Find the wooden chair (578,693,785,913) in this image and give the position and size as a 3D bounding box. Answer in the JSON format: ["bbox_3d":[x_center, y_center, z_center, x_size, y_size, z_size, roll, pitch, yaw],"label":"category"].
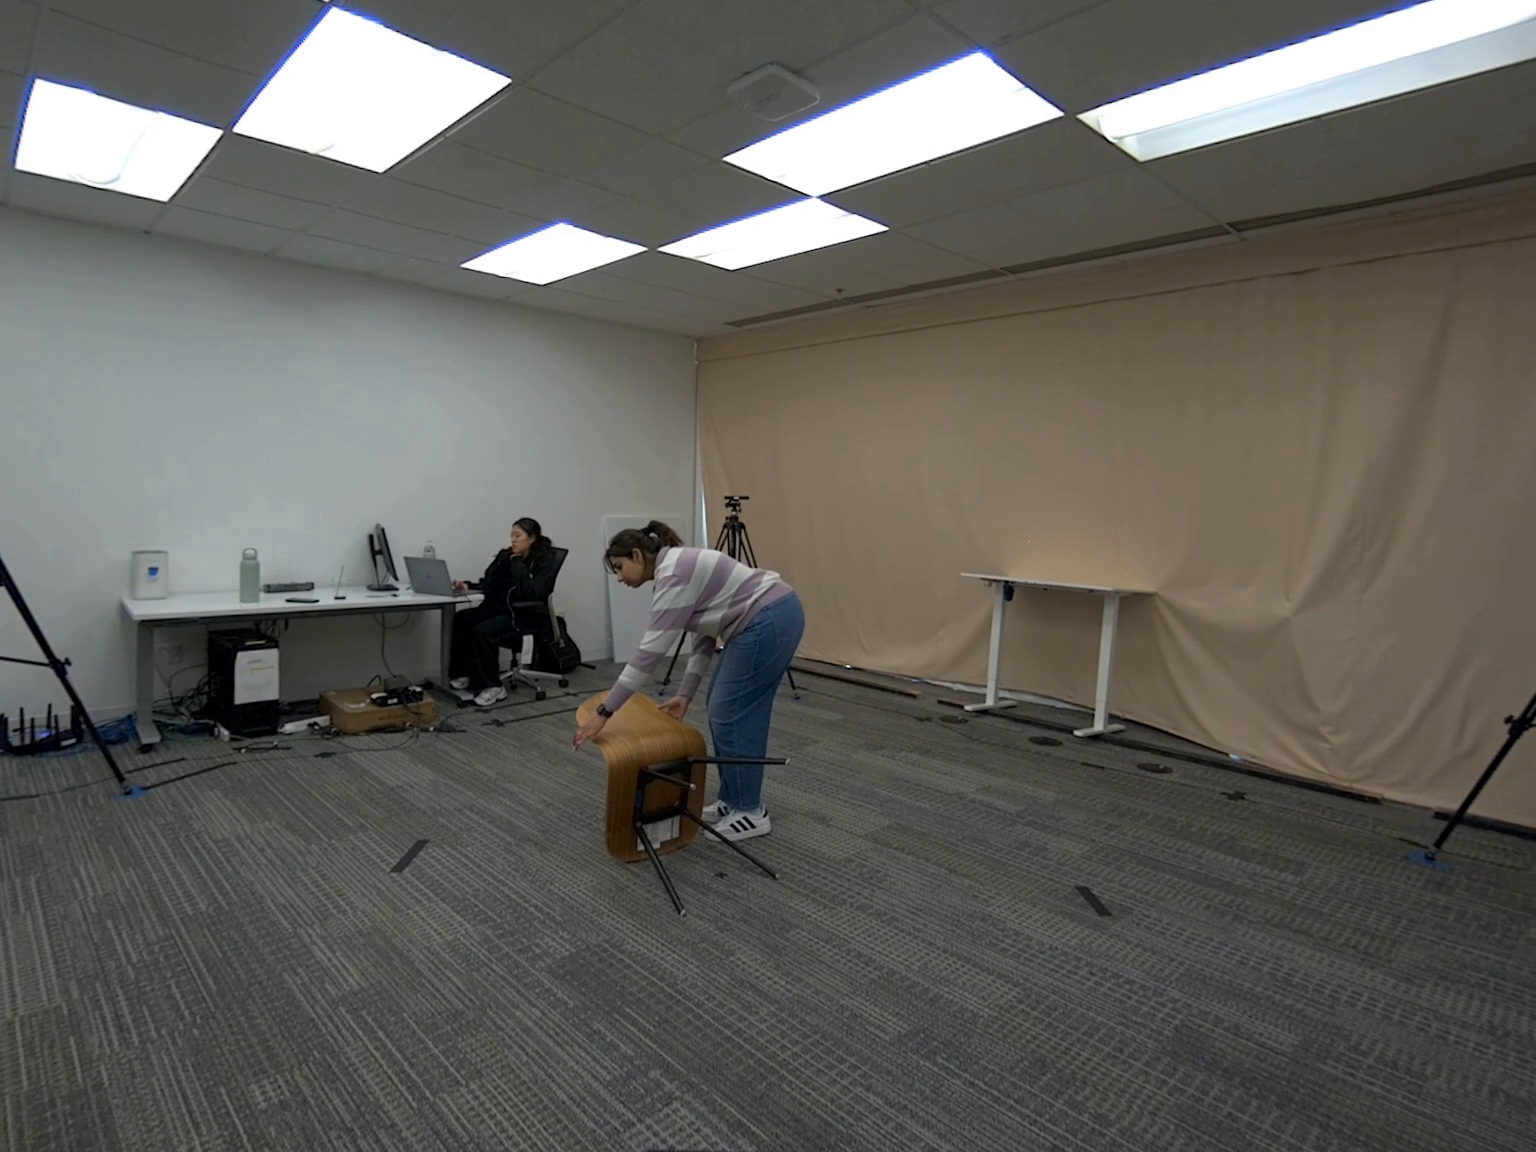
[{"bbox_3d":[-0.404,0.831,3.227,0.467,0.520,0.903,-3,14,-42],"label":"wooden chair"}]
